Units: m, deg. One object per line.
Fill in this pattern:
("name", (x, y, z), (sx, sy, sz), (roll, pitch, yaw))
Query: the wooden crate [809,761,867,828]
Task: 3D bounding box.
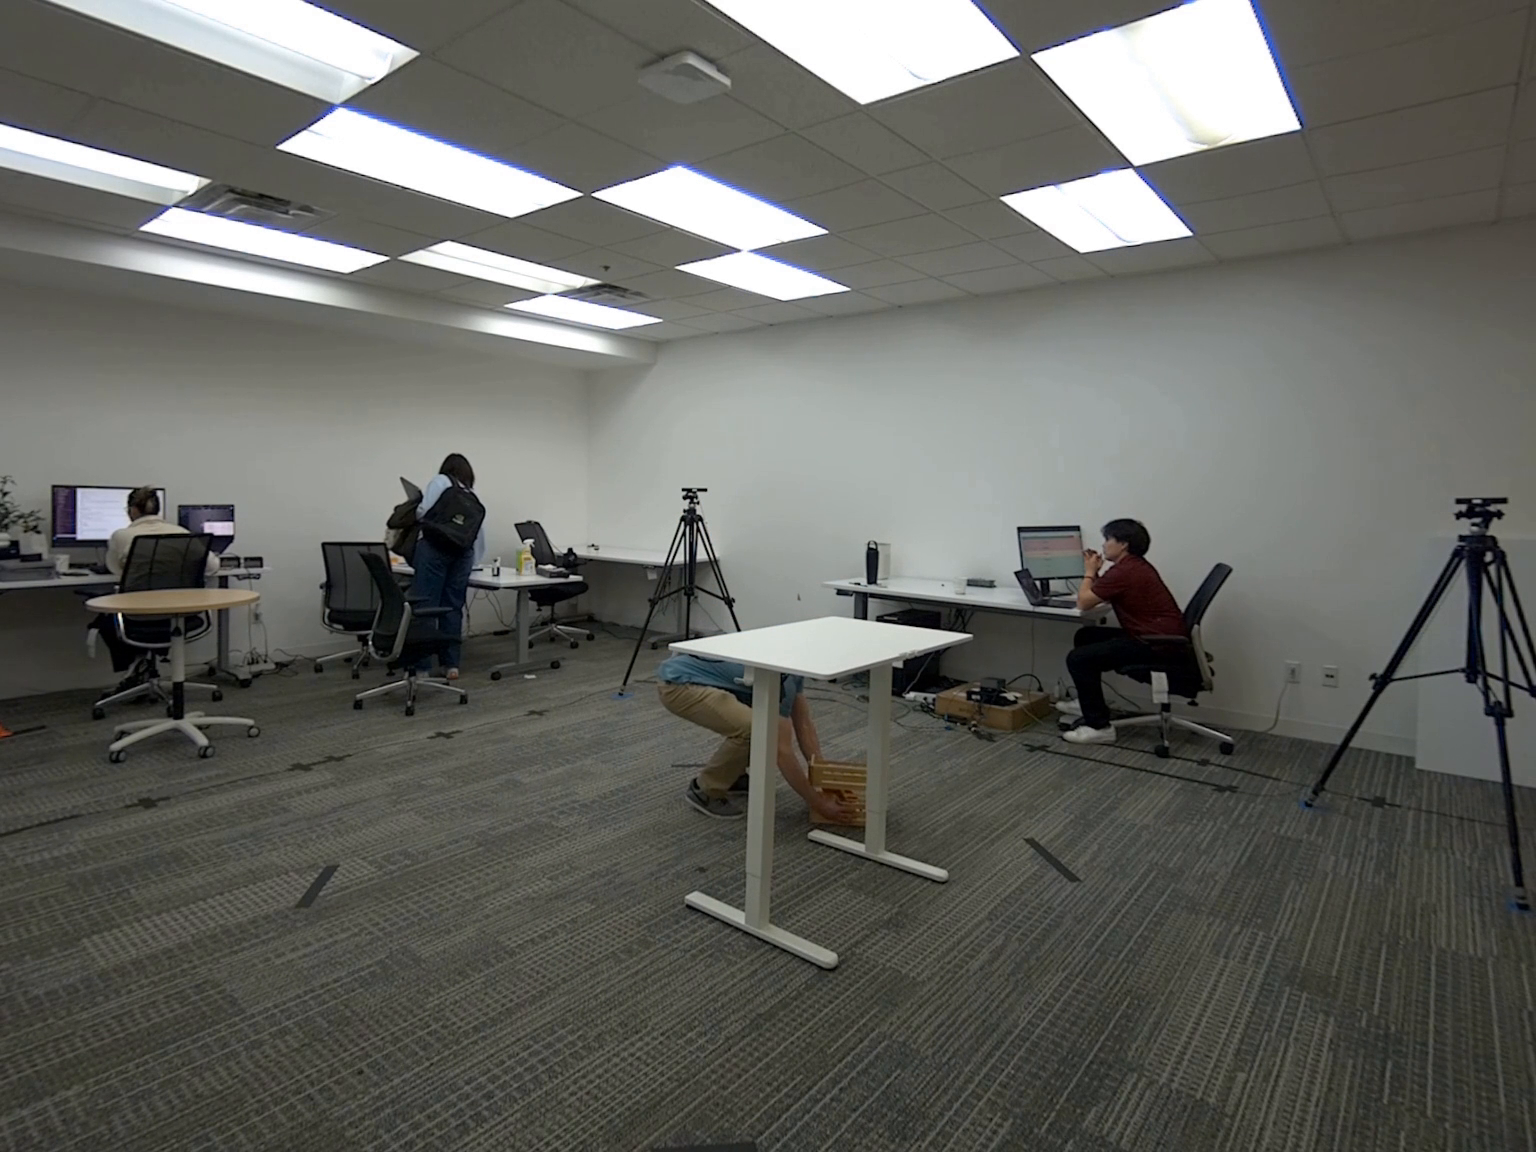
("wooden crate", (0.330, 0.898, 3.660), (0.326, 0.272, 0.301), (2, 5, 5))
